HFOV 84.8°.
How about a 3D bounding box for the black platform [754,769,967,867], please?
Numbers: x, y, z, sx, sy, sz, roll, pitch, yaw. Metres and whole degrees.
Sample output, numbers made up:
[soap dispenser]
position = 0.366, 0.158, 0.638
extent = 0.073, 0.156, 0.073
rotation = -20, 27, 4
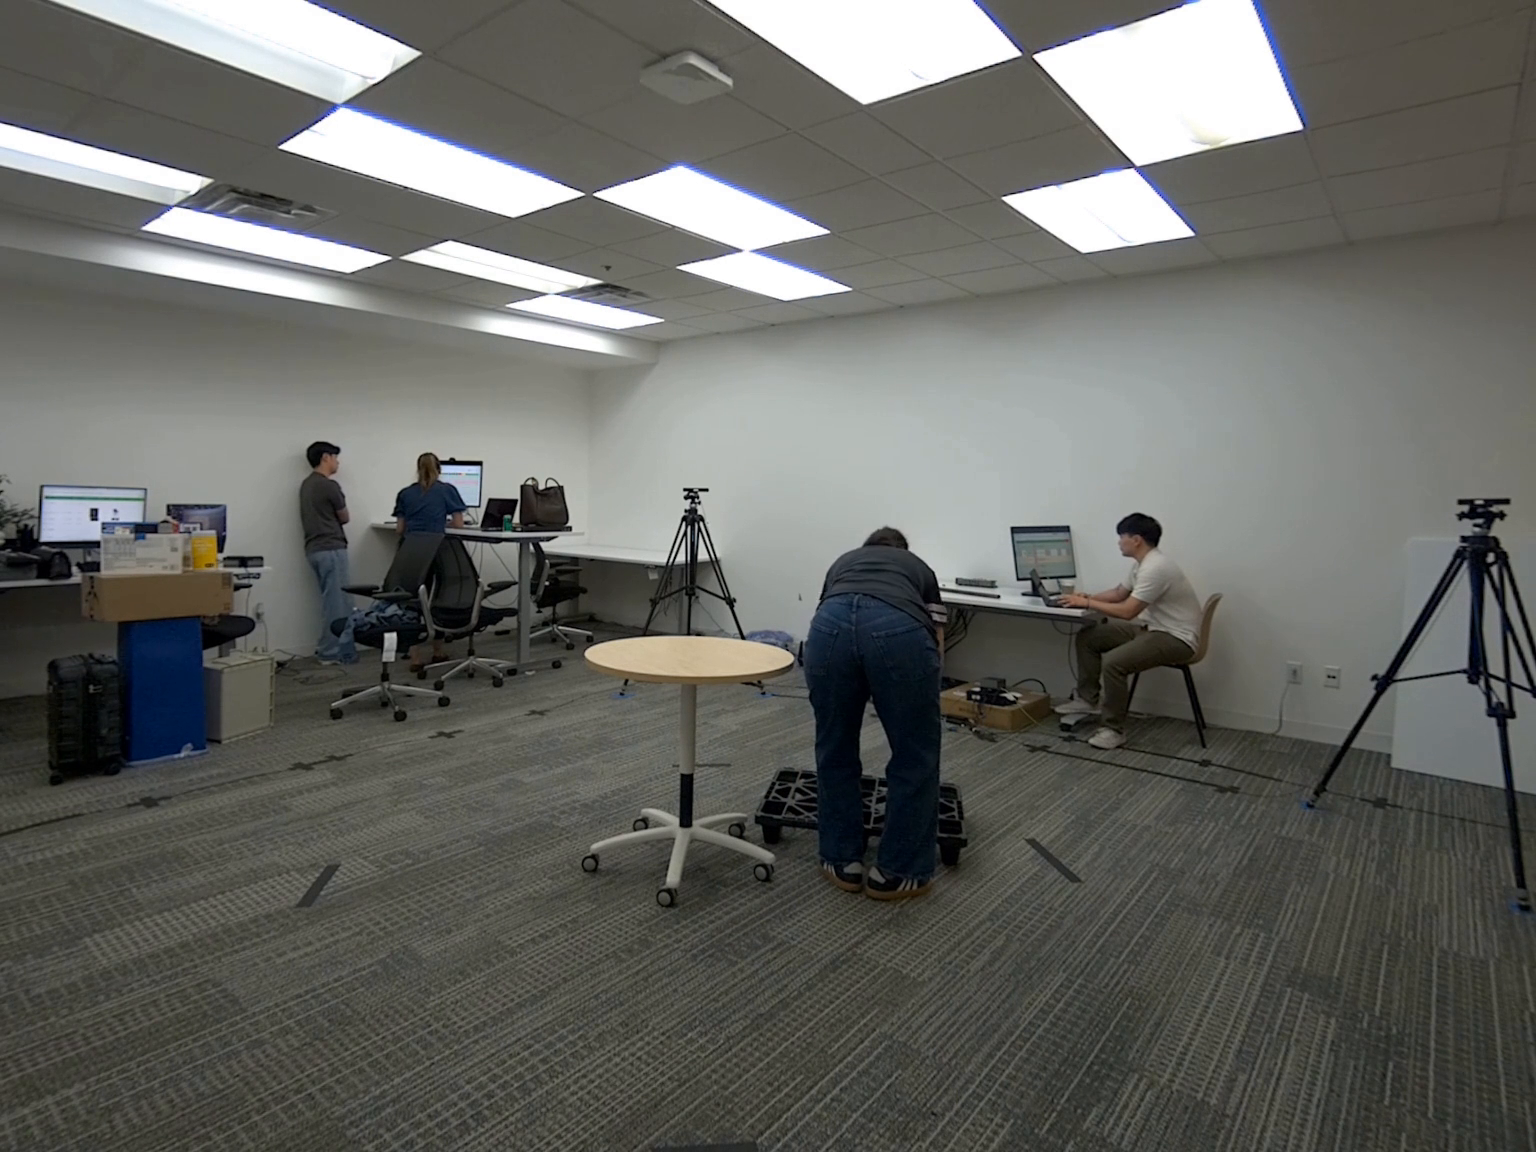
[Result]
[black platform]
position = 0.382, 0.978, 3.489
extent = 0.817, 0.143, 0.600
rotation = 2, 6, 11
